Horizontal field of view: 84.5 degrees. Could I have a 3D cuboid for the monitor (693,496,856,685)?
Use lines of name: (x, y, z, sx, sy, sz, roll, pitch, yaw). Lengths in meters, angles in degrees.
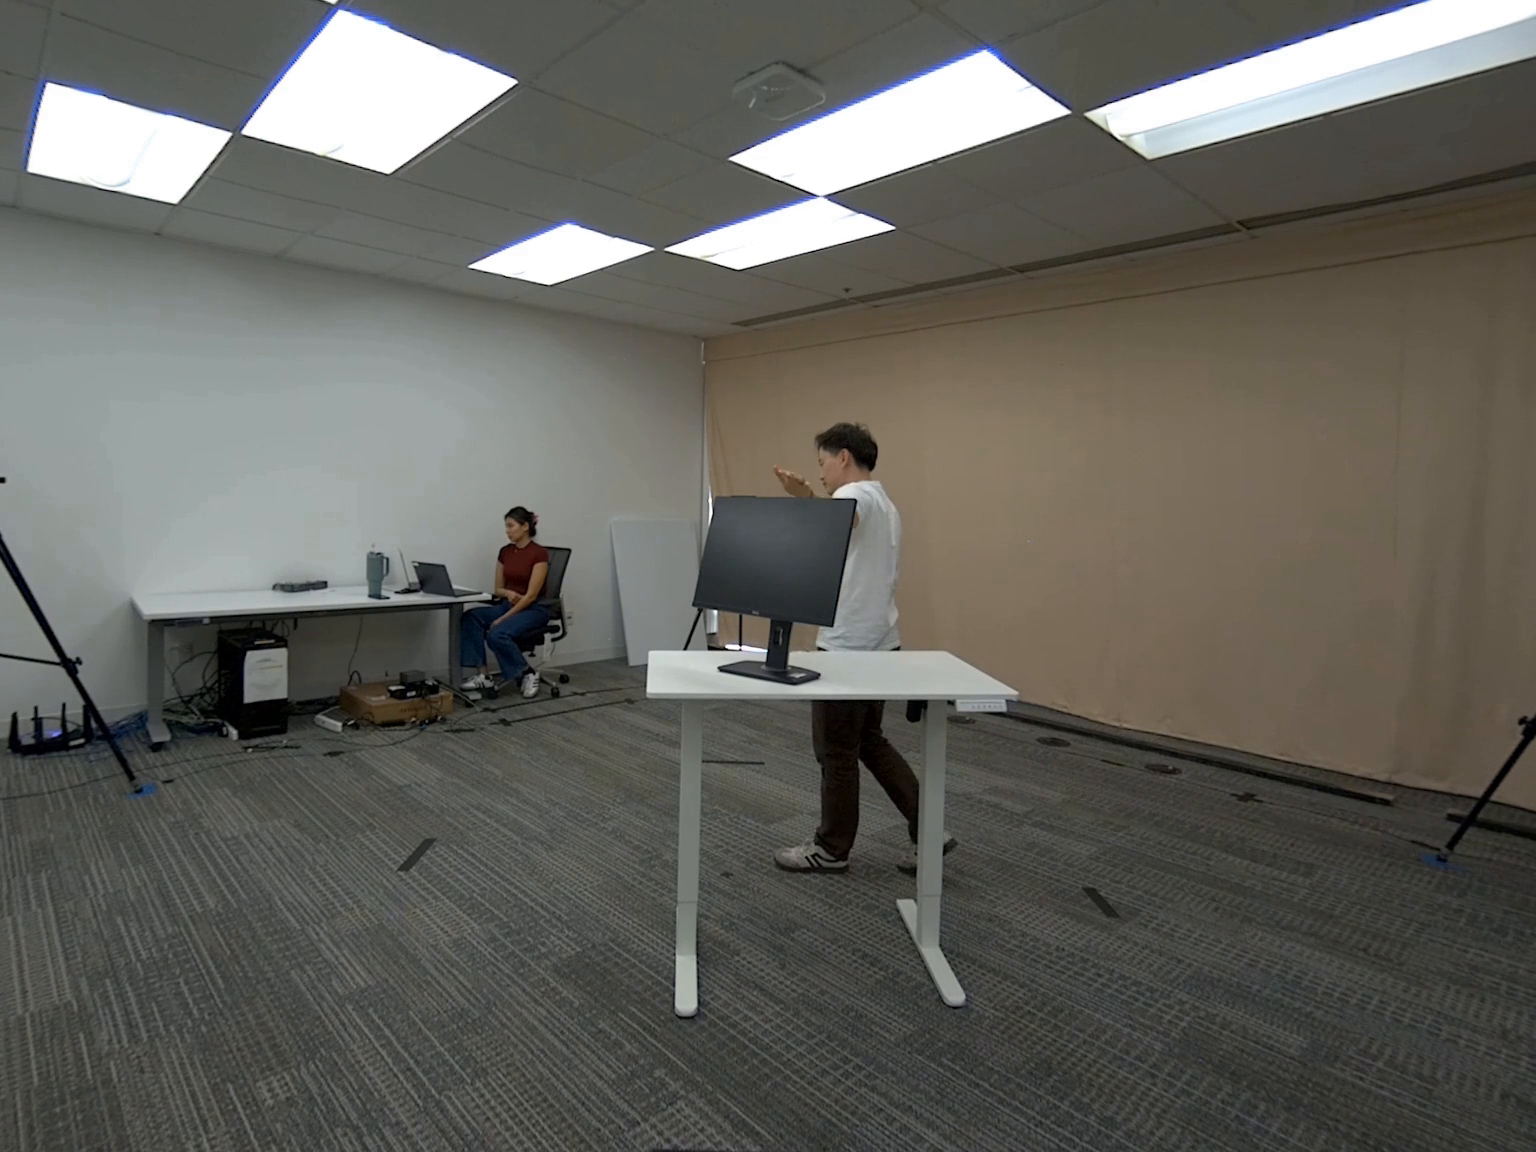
monitor: (0.018, 0.037, 2.432, 0.553, 0.522, 0.183, 5, 3, 41)
